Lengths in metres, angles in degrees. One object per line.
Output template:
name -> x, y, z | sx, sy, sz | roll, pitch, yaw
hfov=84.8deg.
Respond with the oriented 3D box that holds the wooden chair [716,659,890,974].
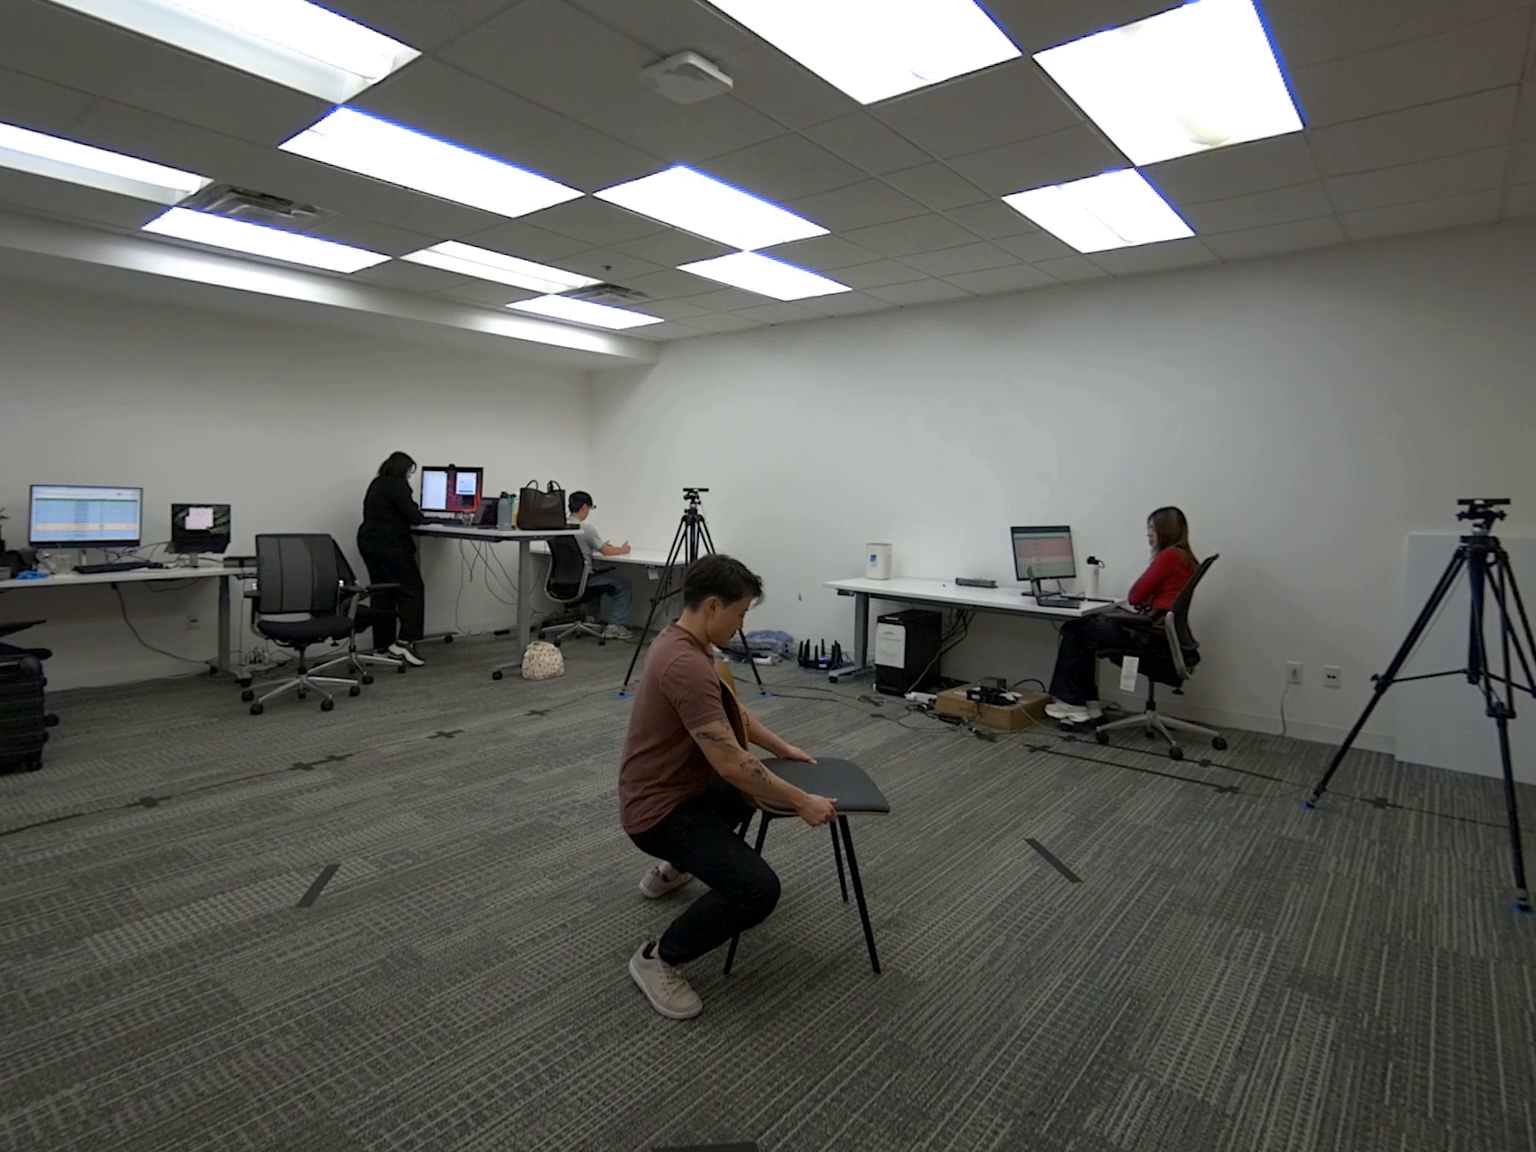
wooden chair -> 0.098, 0.701, 2.638 | 0.521, 0.875, 0.482 | -3, 3, -5
